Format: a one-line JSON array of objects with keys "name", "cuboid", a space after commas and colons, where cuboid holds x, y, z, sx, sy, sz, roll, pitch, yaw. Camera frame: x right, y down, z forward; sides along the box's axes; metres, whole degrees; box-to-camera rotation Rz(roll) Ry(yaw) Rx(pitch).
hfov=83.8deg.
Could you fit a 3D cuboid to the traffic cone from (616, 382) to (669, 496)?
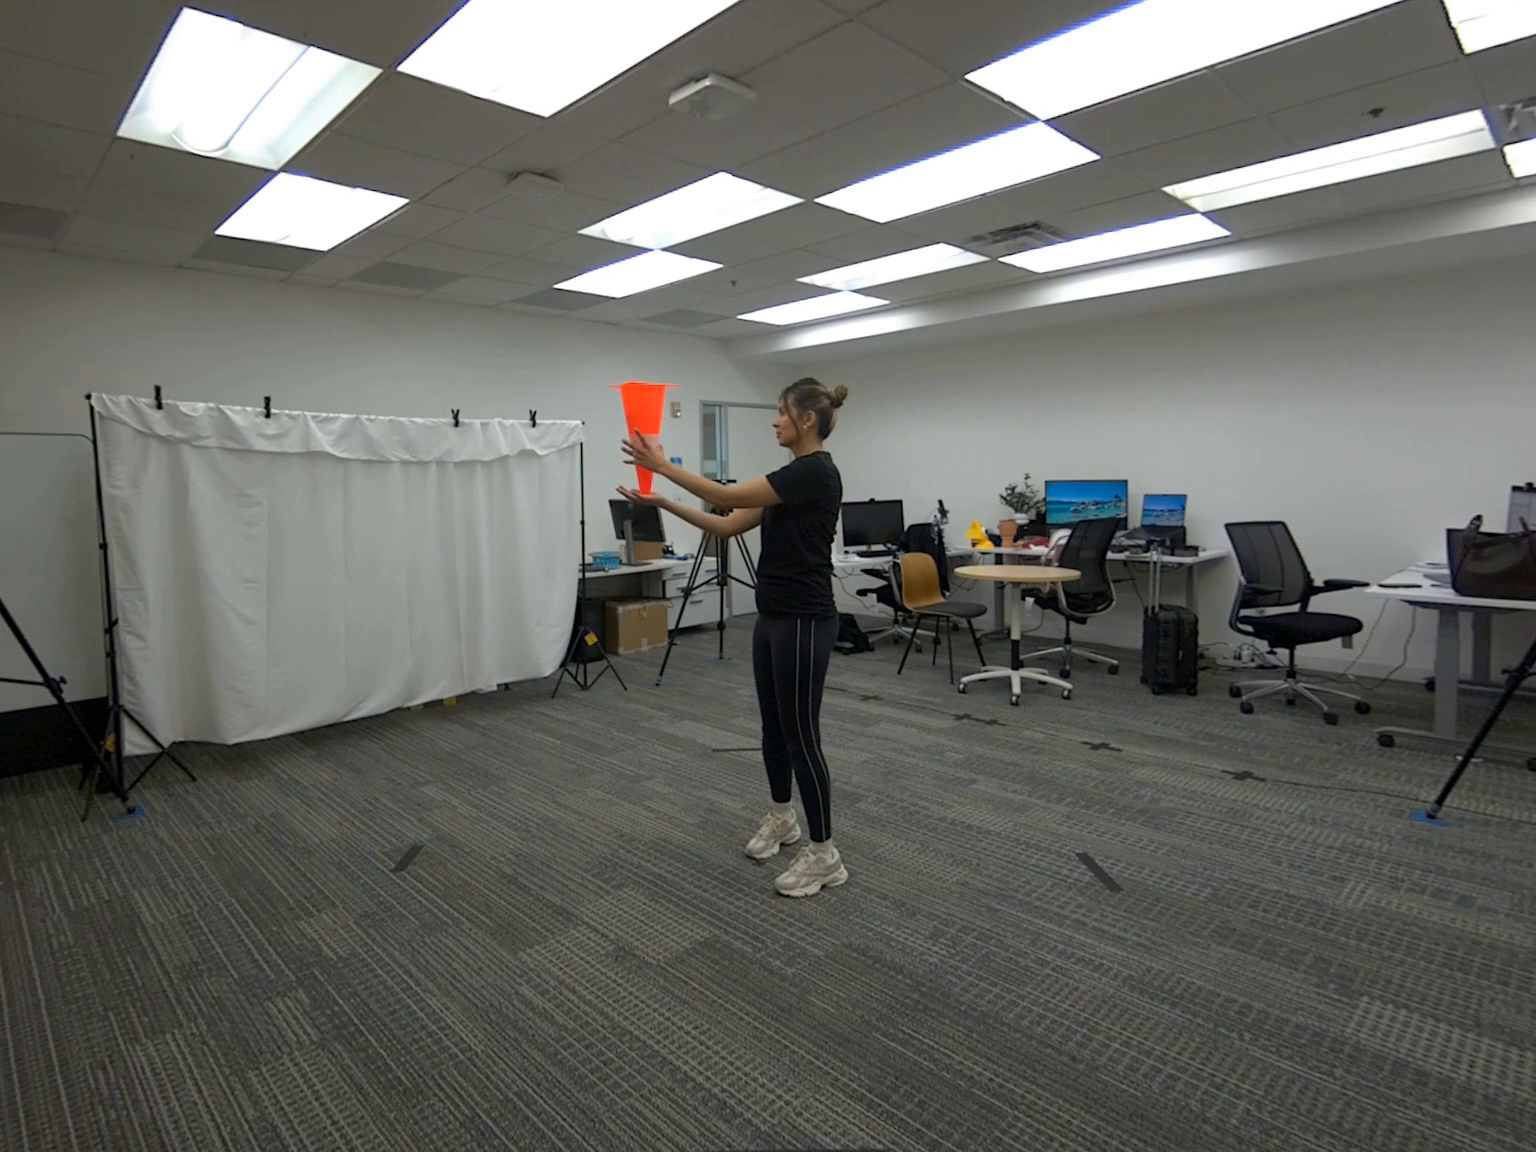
[{"name": "traffic cone", "cuboid": [-0.424, -0.464, 2.941, 0.200, 0.382, 0.209, -2, 5, -31]}]
